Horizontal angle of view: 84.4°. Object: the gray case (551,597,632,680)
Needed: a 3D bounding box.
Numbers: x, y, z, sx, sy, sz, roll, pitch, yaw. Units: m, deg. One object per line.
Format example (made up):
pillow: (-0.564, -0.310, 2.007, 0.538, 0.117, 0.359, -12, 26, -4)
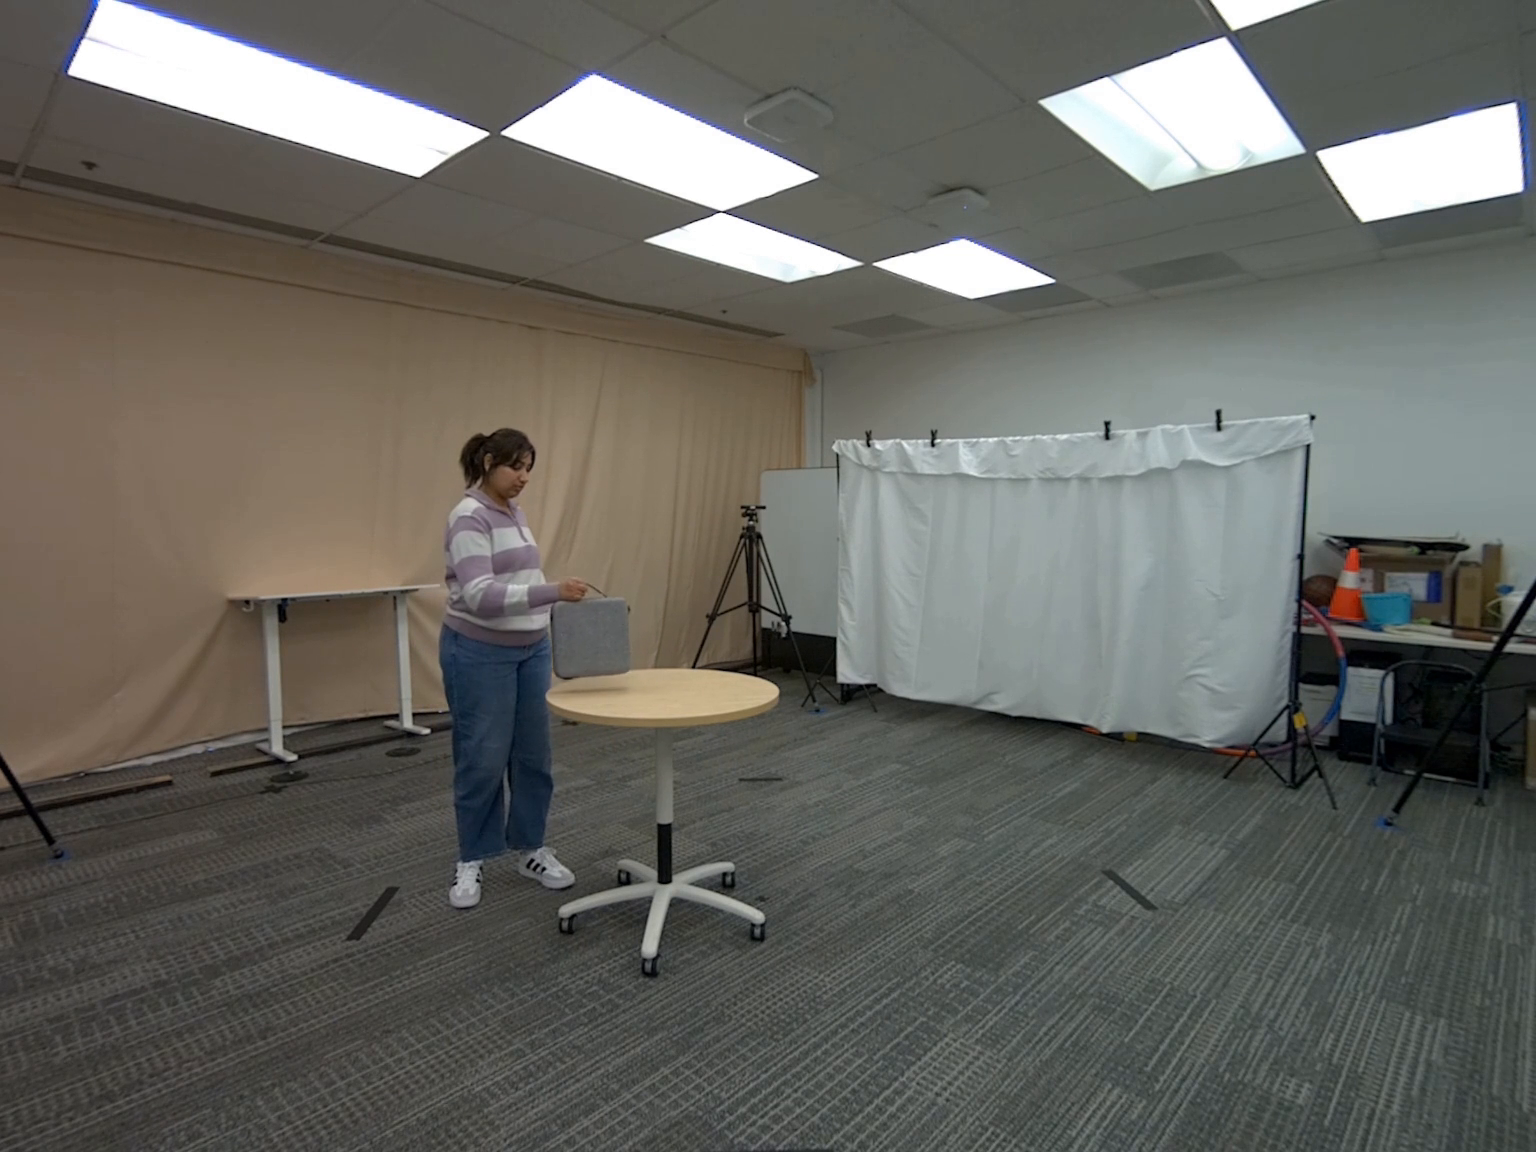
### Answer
gray case: (-0.595, 0.206, 2.778, 0.253, 0.261, 0.105, -5, -4, -16)
